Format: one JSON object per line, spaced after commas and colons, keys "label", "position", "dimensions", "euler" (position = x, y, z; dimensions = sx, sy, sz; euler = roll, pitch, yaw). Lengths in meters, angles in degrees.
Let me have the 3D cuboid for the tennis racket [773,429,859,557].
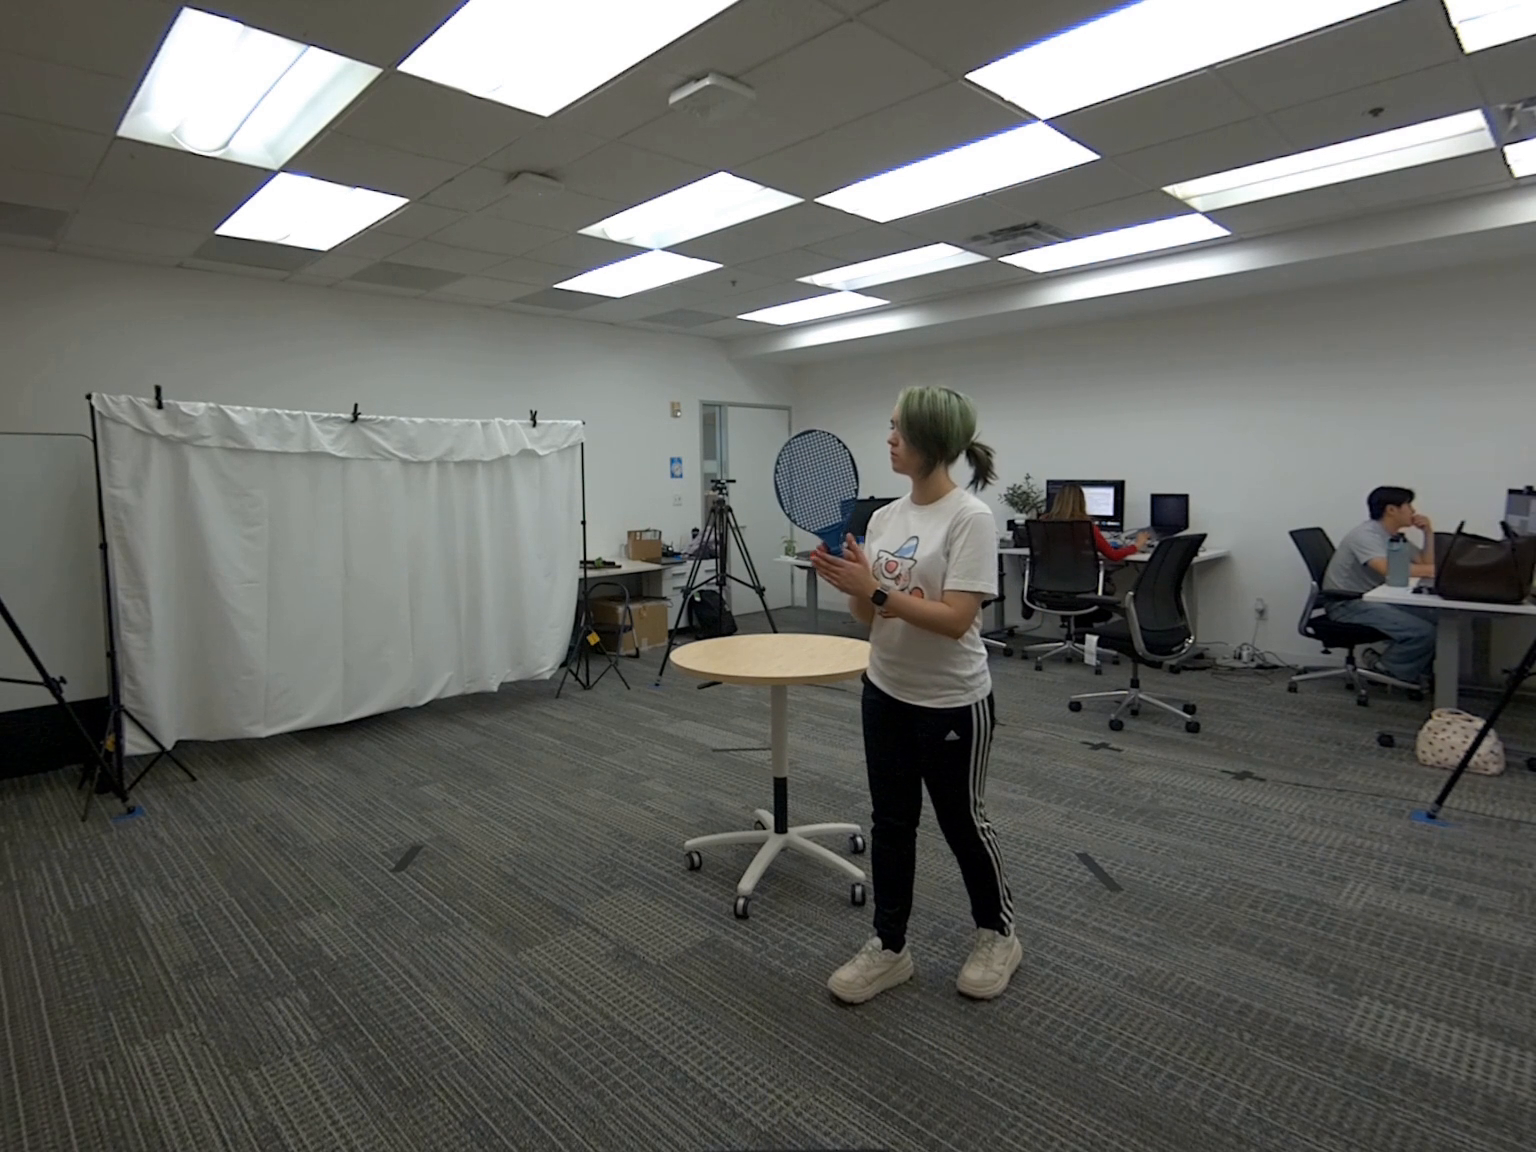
{"label": "tennis racket", "position": [0.158, -0.160, 2.130], "dimensions": [0.213, 0.423, 0.032], "euler": [-26, 18, -3]}
